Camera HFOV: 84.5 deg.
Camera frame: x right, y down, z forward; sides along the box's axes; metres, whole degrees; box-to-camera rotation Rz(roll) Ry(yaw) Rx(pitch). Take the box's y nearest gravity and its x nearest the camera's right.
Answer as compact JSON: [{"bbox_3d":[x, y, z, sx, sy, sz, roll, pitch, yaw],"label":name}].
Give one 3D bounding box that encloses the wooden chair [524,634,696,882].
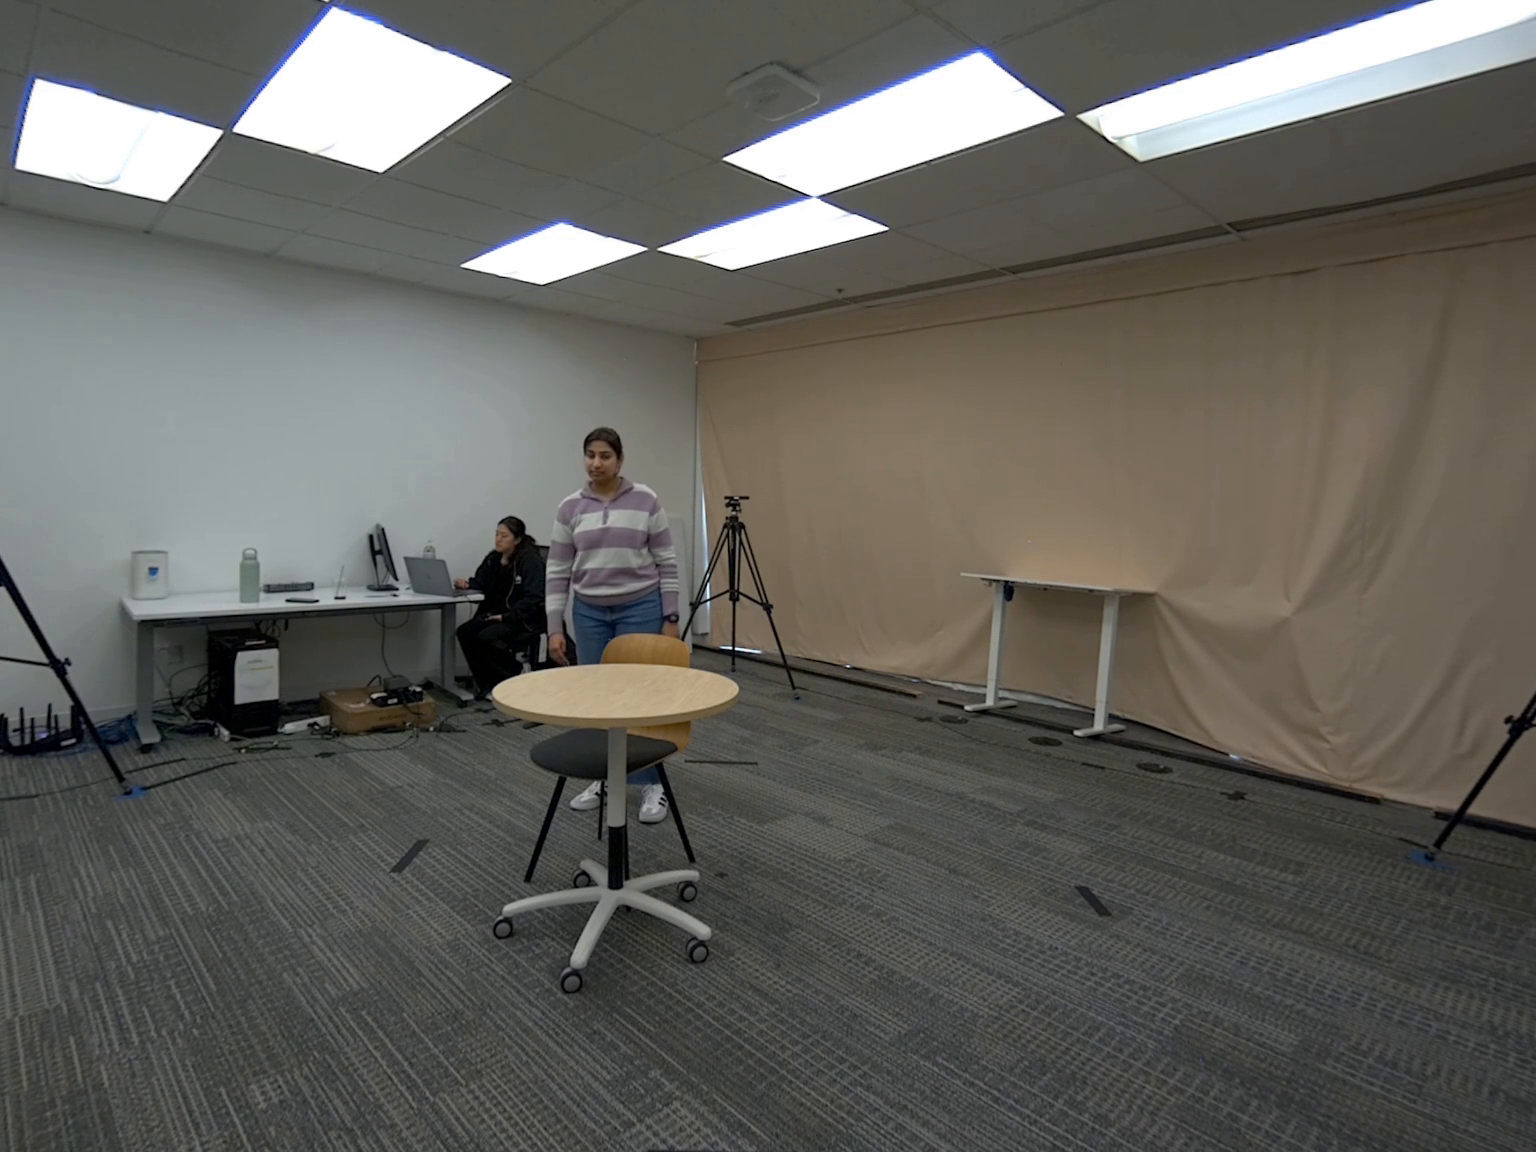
[{"bbox_3d":[-0.566,0.673,3.068,0.488,0.877,0.513,4,1,26],"label":"wooden chair"}]
